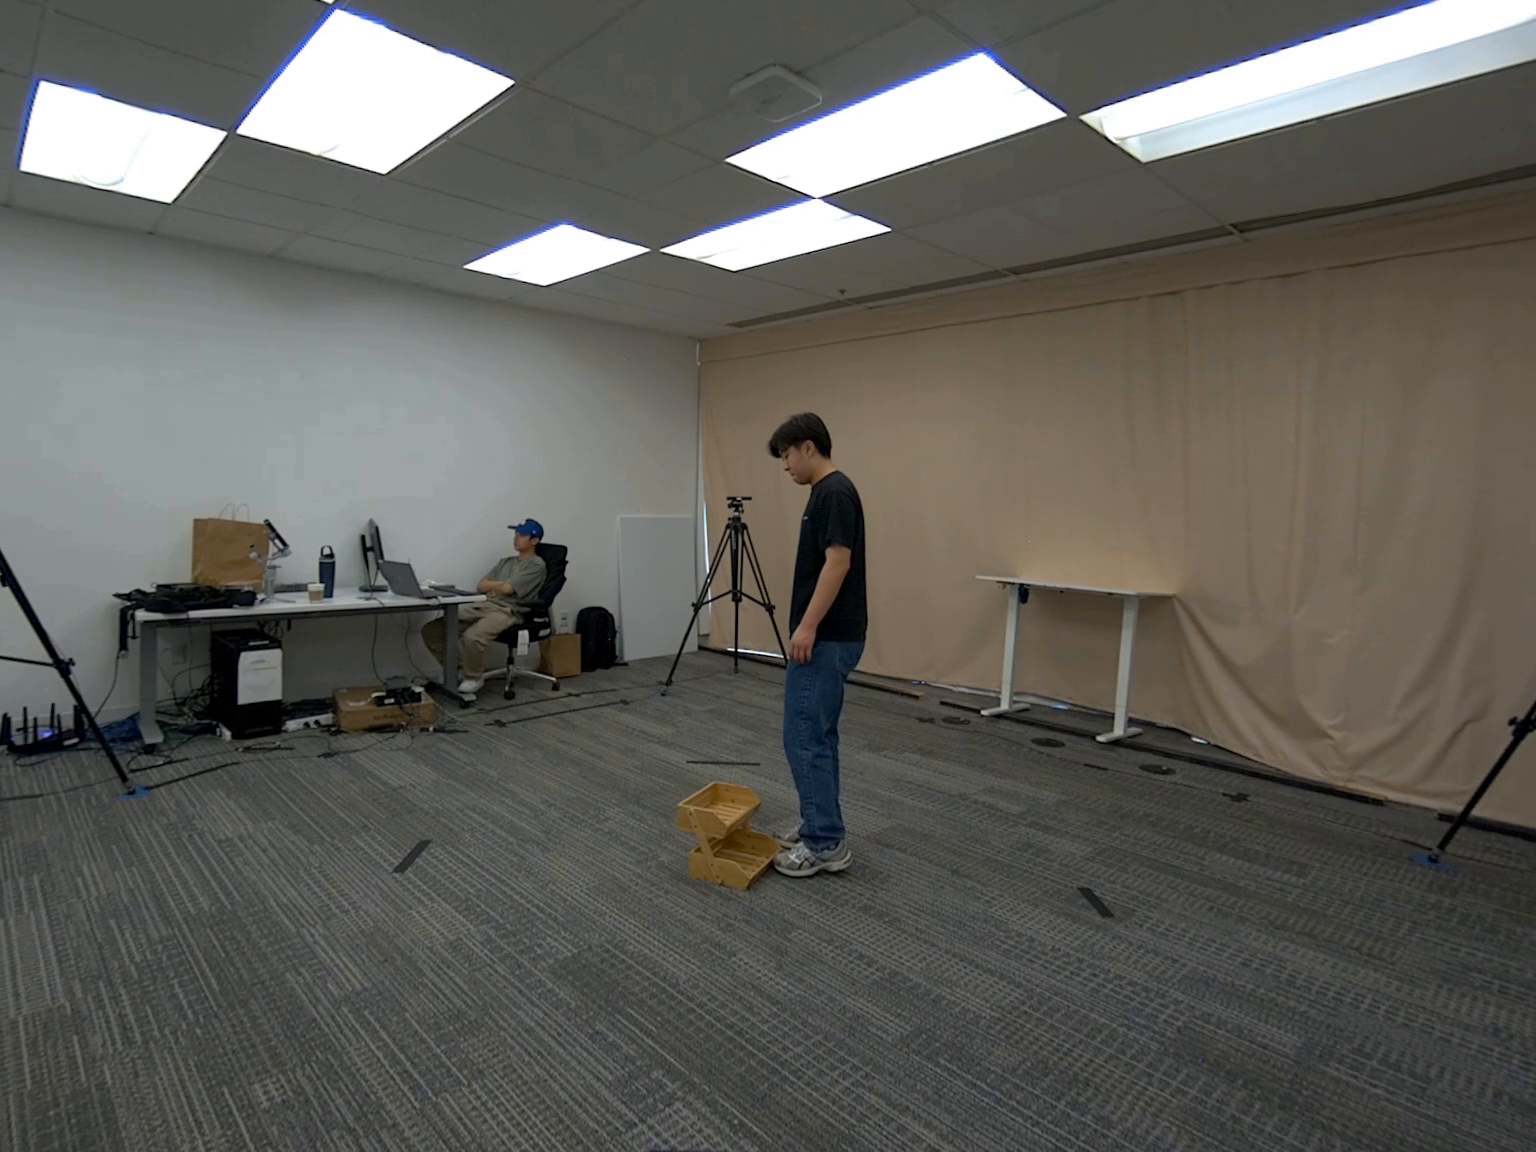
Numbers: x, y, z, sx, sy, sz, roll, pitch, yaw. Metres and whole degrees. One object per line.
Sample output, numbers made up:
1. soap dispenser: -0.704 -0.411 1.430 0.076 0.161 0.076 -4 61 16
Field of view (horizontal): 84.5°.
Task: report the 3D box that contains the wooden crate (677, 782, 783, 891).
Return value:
1. wooden crate: -0.139 0.968 3.173 0.308 0.272 0.319 3 5 25
